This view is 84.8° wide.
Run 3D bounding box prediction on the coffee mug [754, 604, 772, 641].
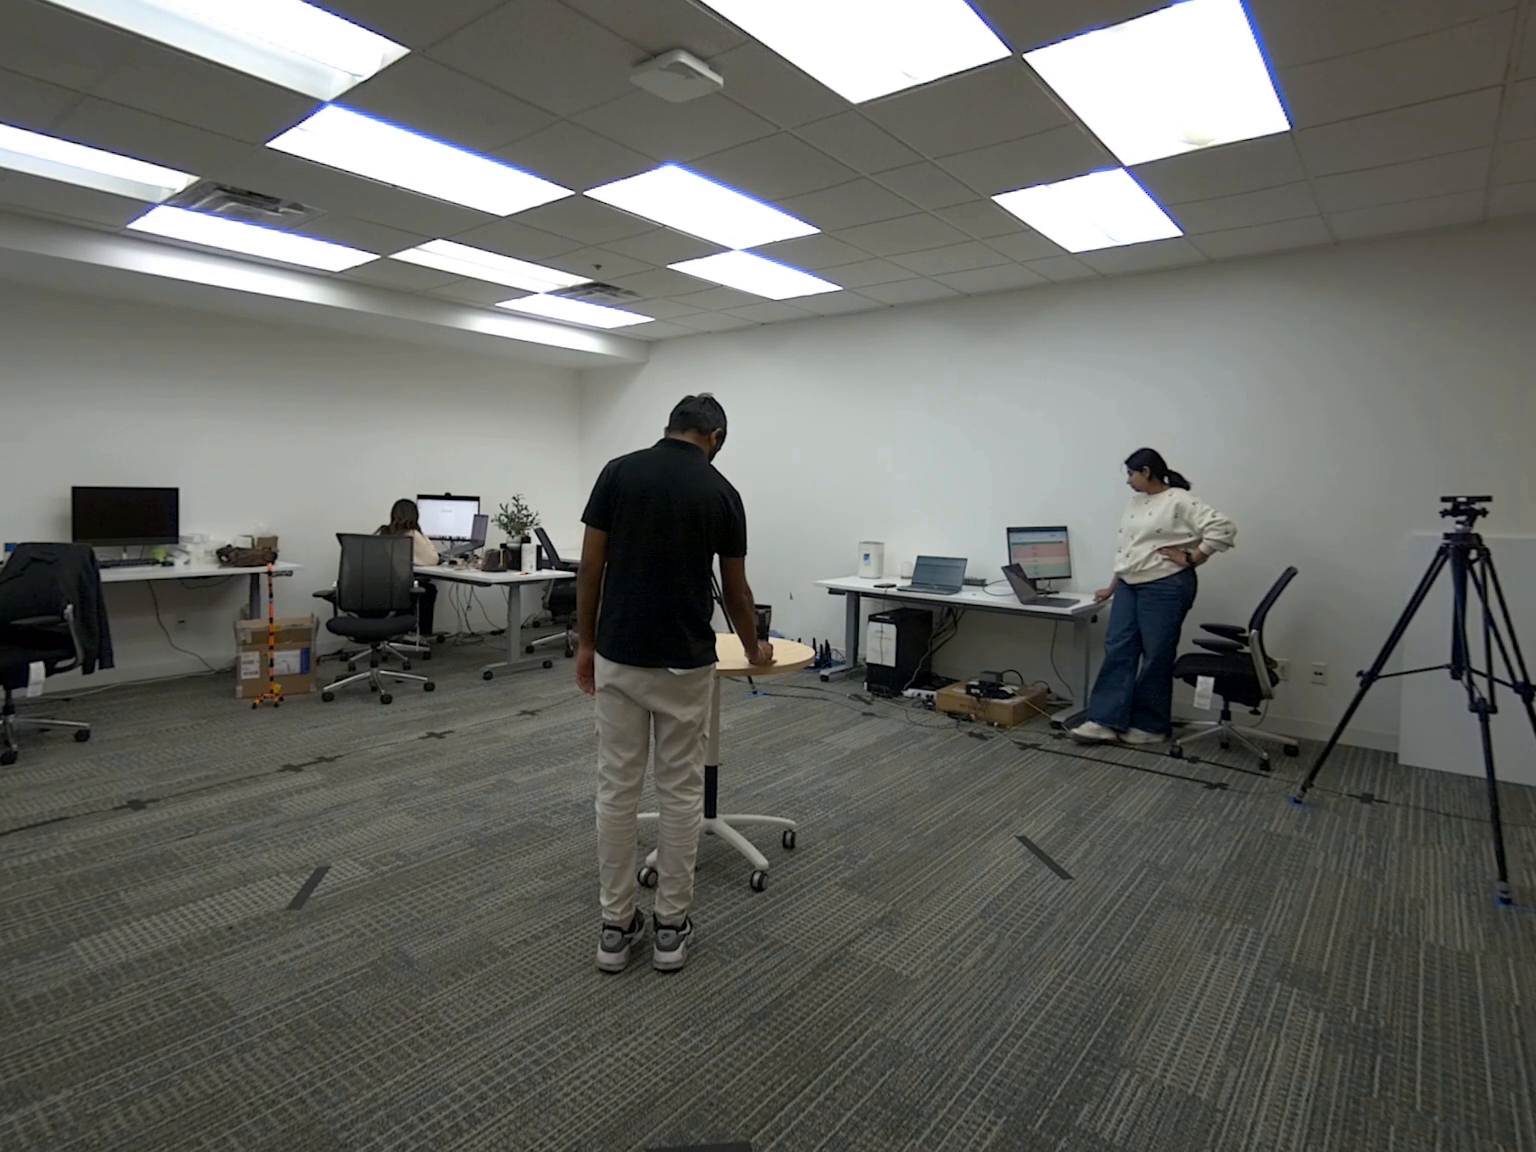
[{"bbox_3d":[-0.046,0.194,2.931,0.090,0.203,0.118,3,-2,31],"label":"coffee mug"}]
